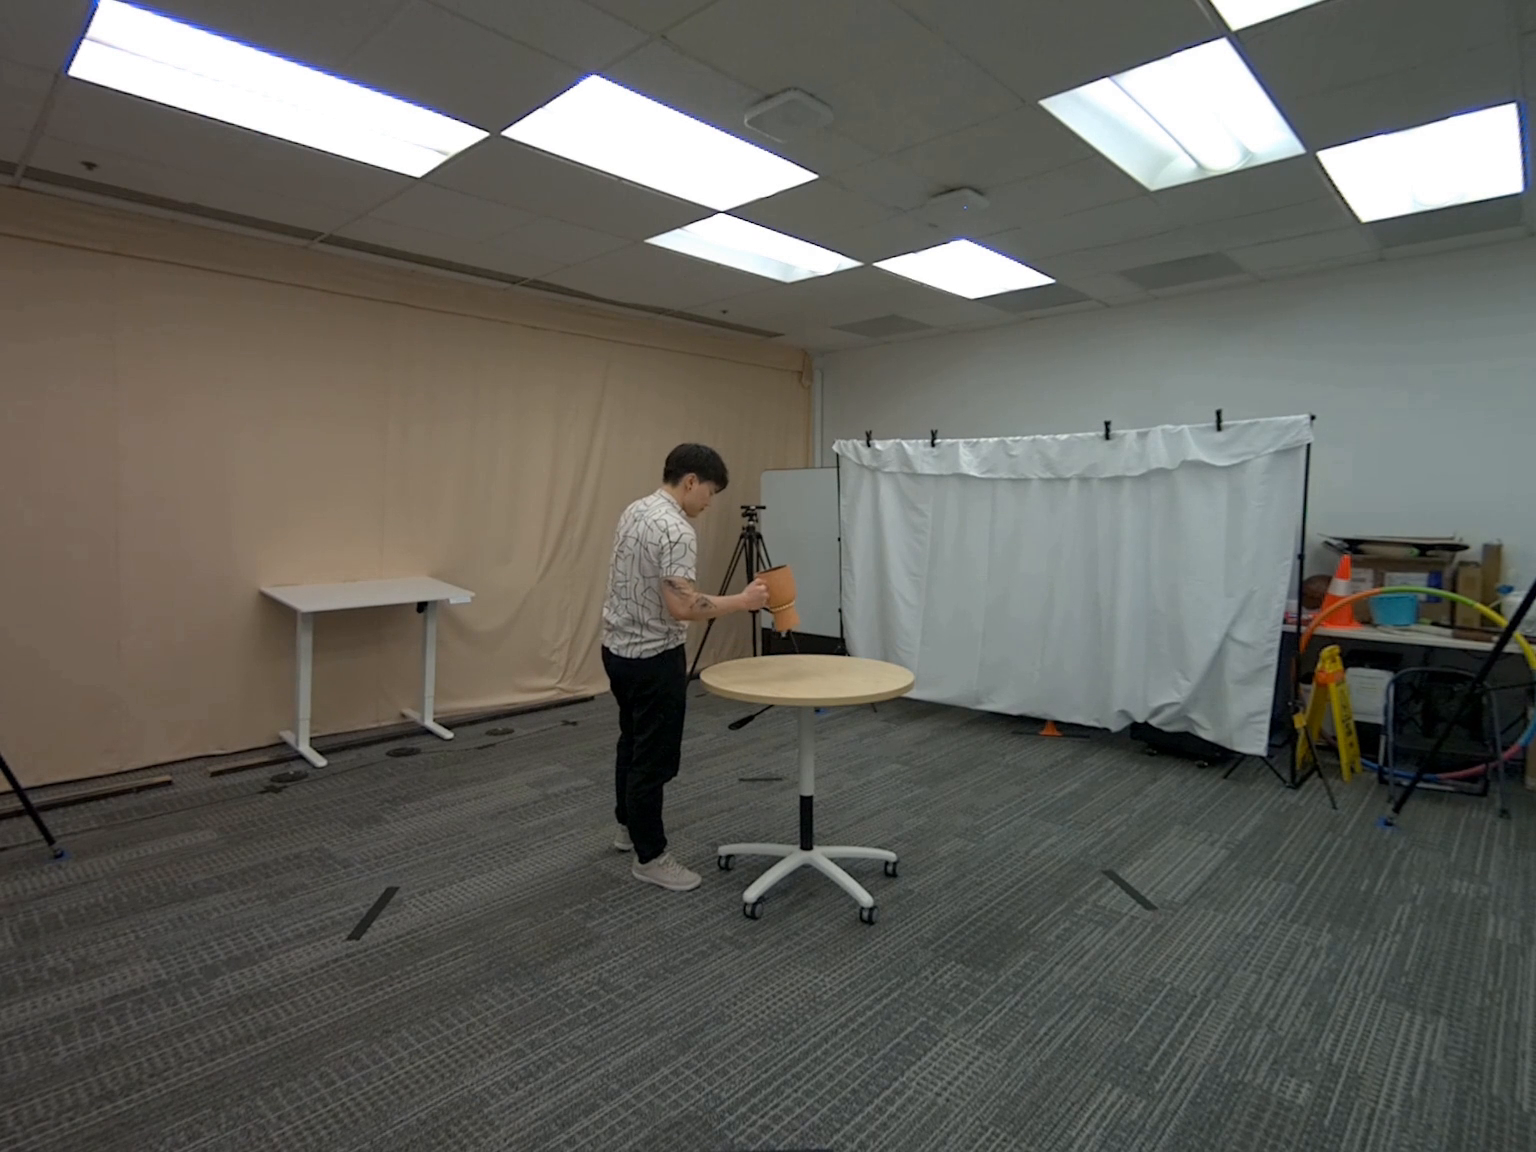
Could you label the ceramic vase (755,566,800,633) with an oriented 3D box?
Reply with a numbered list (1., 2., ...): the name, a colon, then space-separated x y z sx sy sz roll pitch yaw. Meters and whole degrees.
1. ceramic vase: 0.040 0.086 3.087 0.157 0.219 0.136 -16 4 -13
